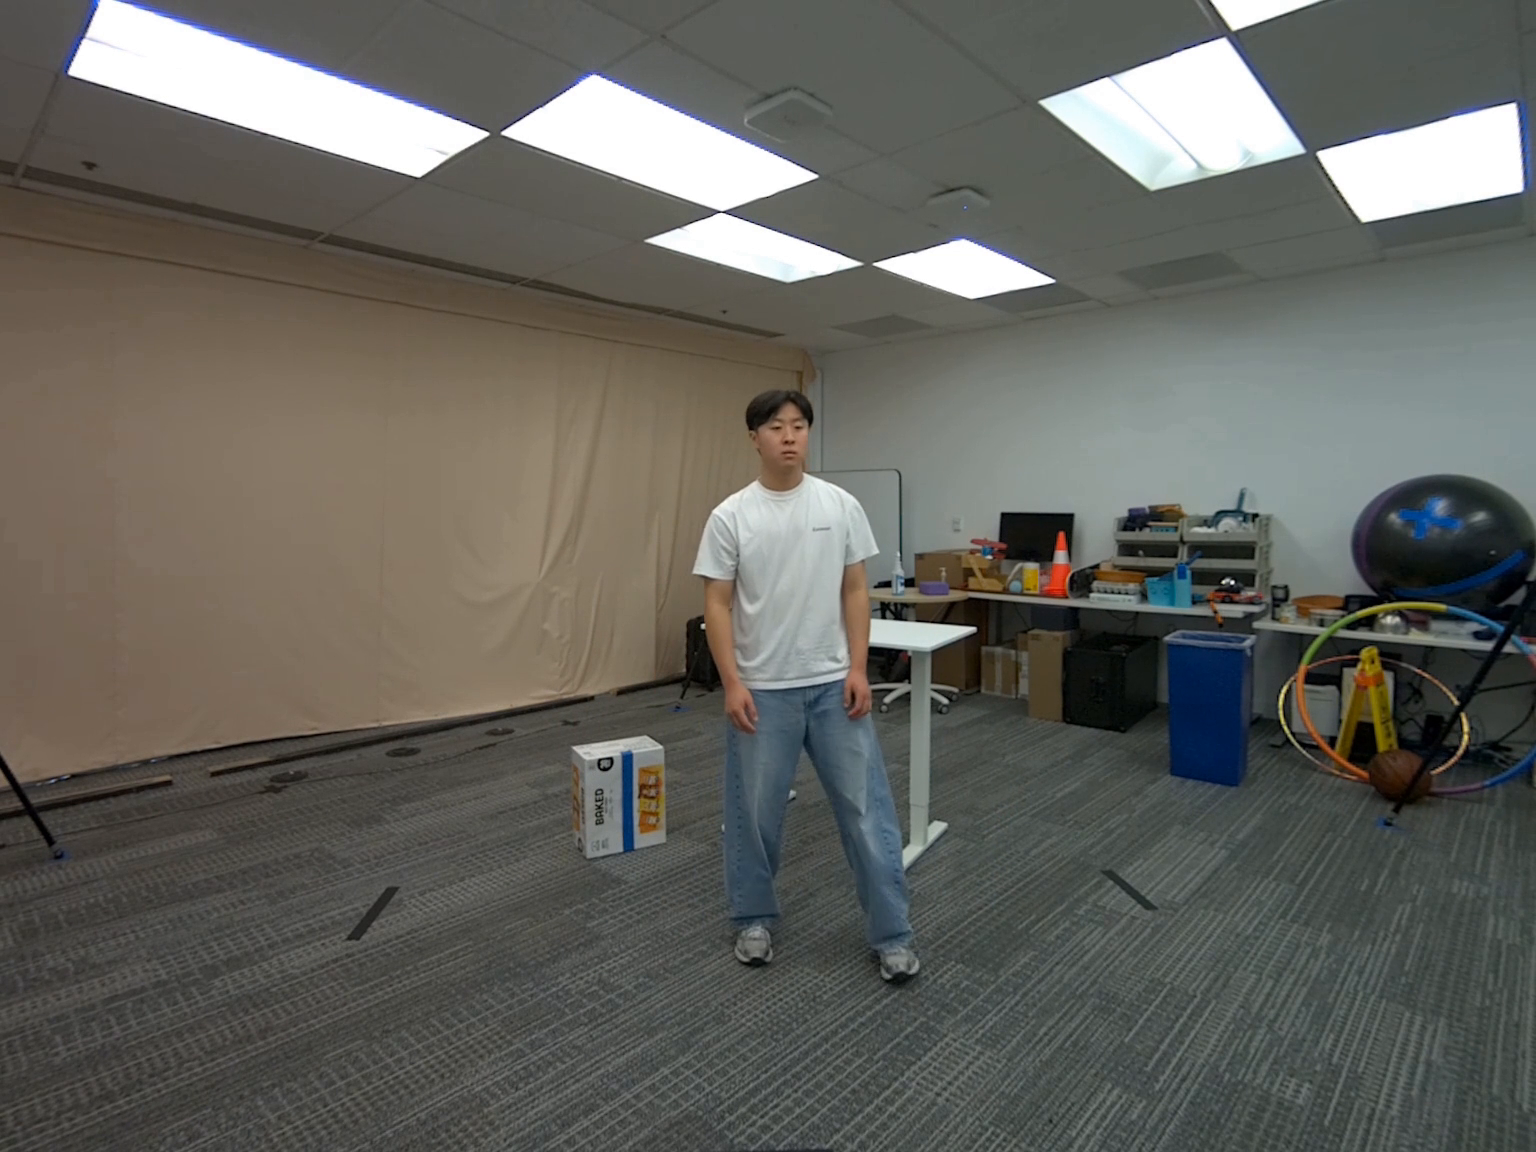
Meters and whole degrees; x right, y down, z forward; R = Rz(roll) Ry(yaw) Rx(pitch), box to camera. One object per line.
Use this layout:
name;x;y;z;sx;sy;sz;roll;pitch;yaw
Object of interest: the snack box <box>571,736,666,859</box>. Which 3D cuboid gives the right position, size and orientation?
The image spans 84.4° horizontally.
snack box;-0.621;0.905;3.479;0.332;0.404;0.211;-3;4;-28
